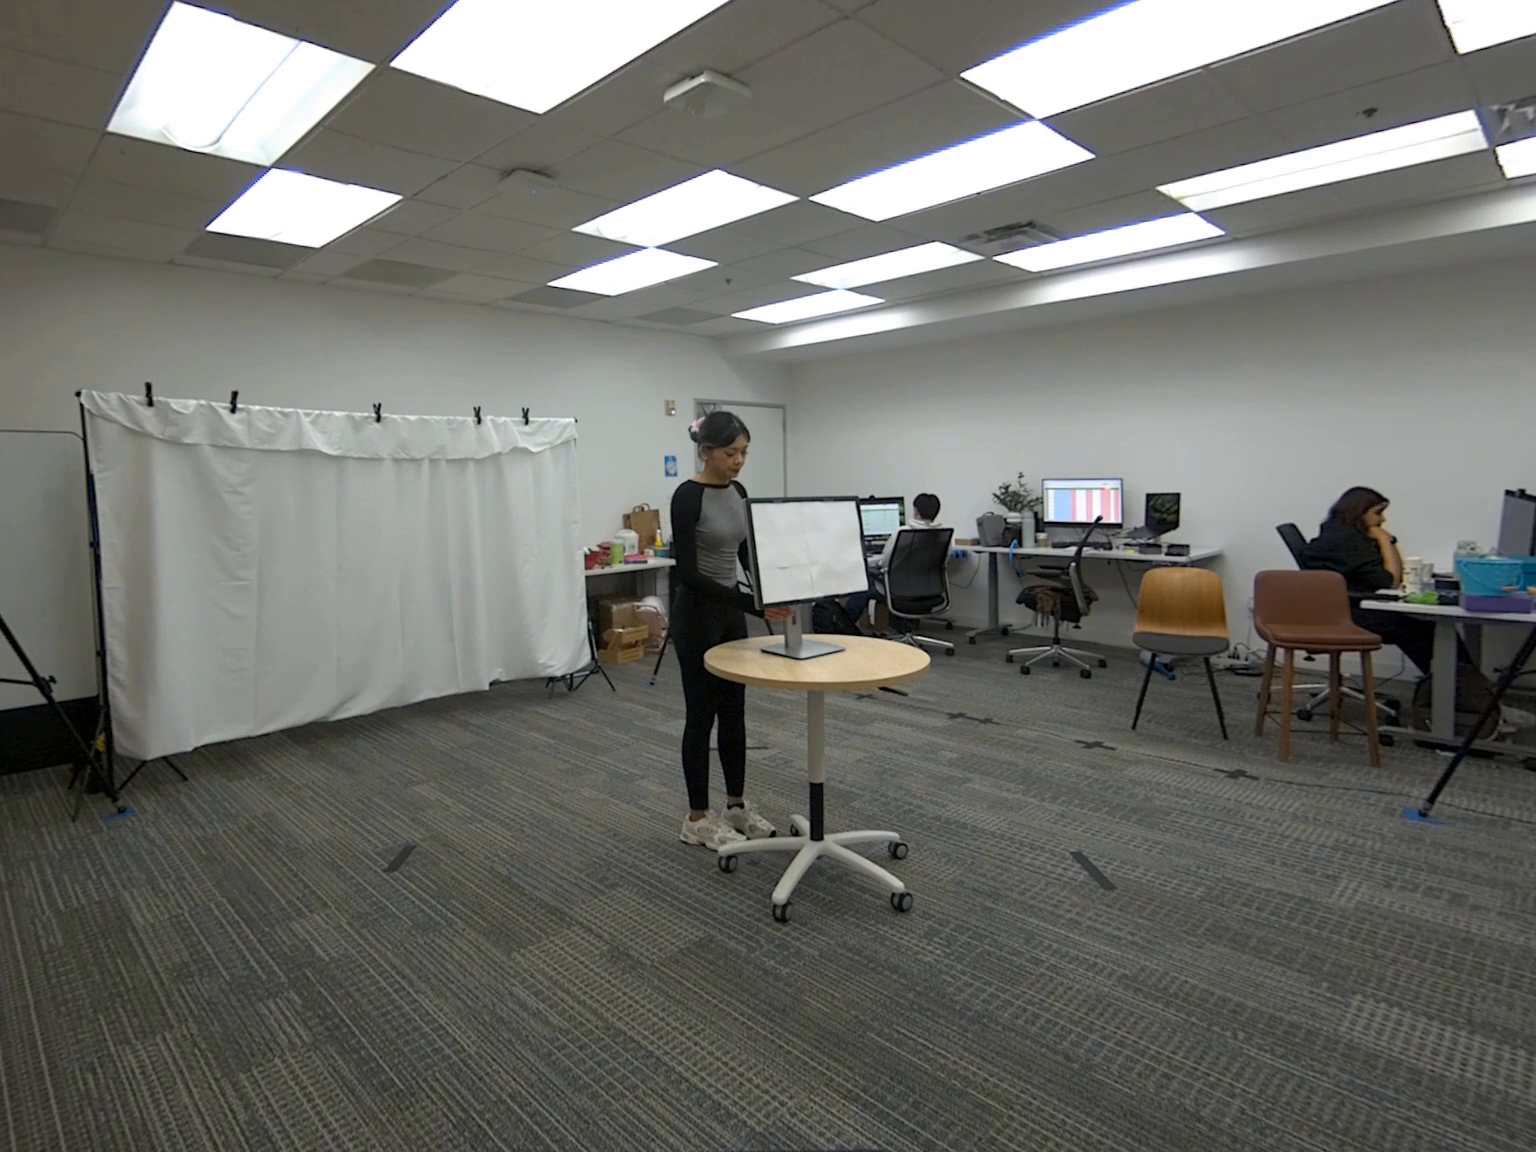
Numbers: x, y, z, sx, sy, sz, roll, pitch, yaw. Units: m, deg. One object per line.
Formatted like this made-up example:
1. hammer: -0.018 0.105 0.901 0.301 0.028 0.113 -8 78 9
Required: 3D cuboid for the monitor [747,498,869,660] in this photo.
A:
1. monitor: 0.122 0.001 2.982 0.525 0.520 0.193 -5 8 -44
